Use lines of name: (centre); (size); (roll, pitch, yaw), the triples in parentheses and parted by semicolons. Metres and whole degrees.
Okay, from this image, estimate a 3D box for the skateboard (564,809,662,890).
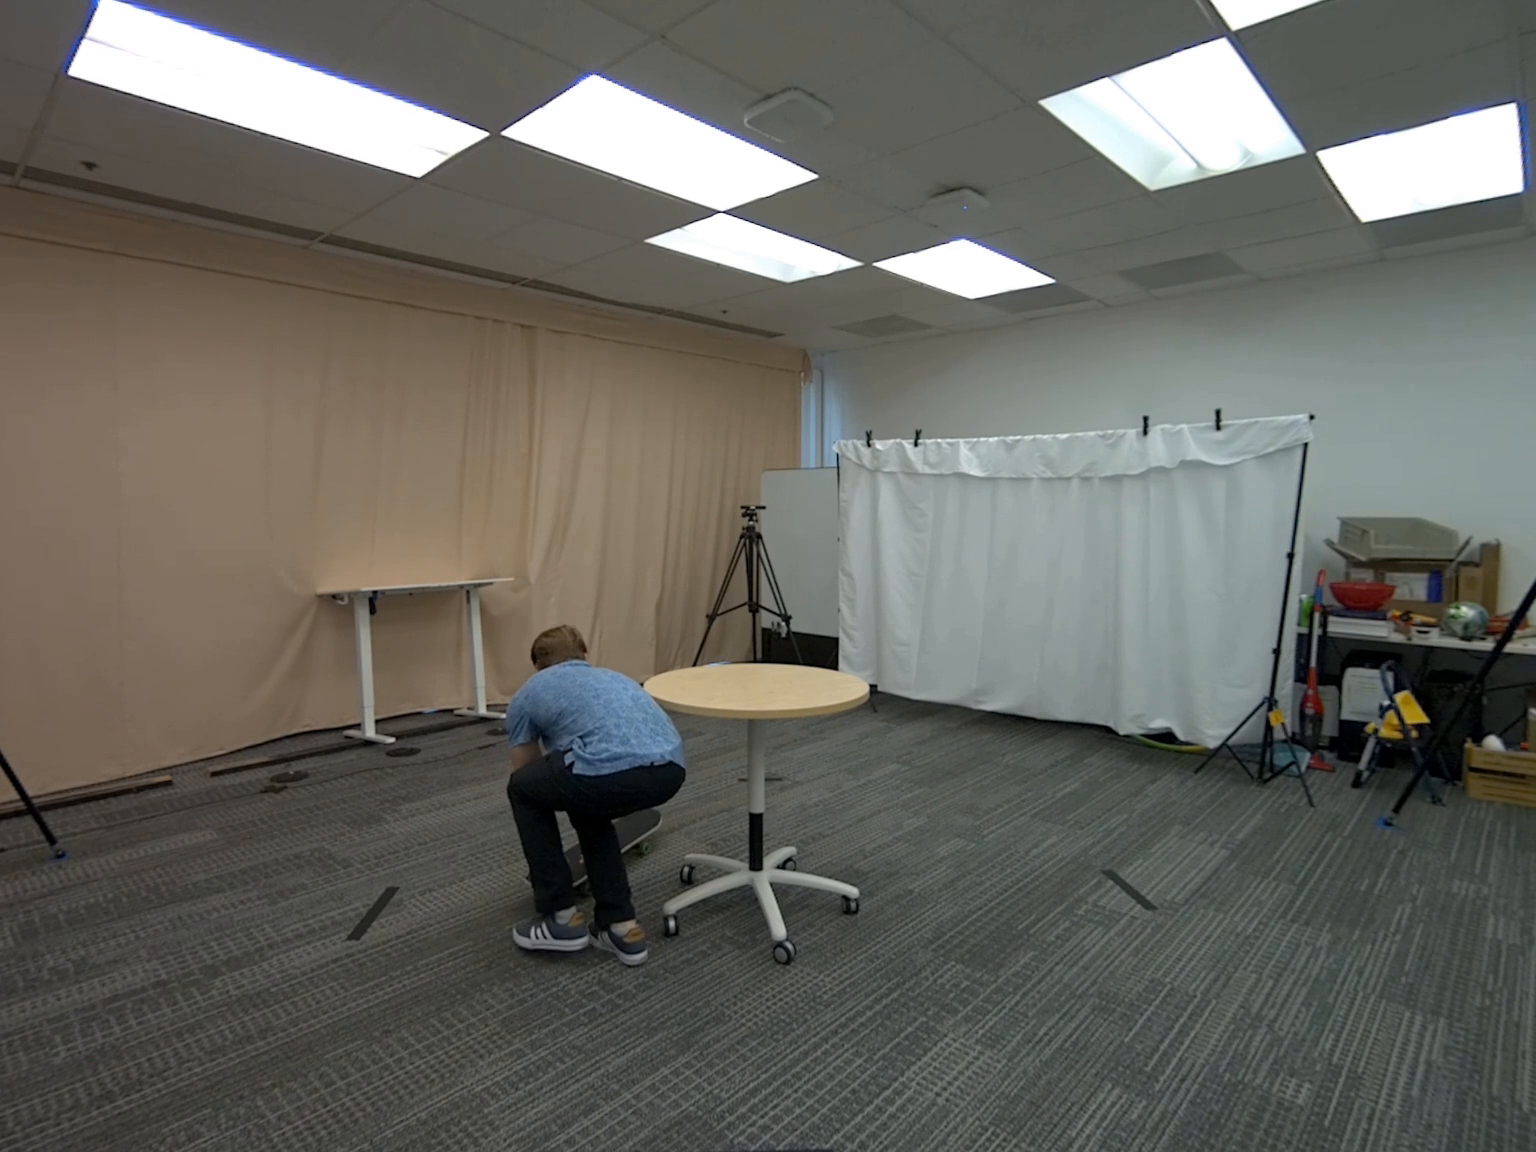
skateboard: (-0.647, 1.074, 3.230); (0.198, 0.110, 0.768); (2, 5, 24)
